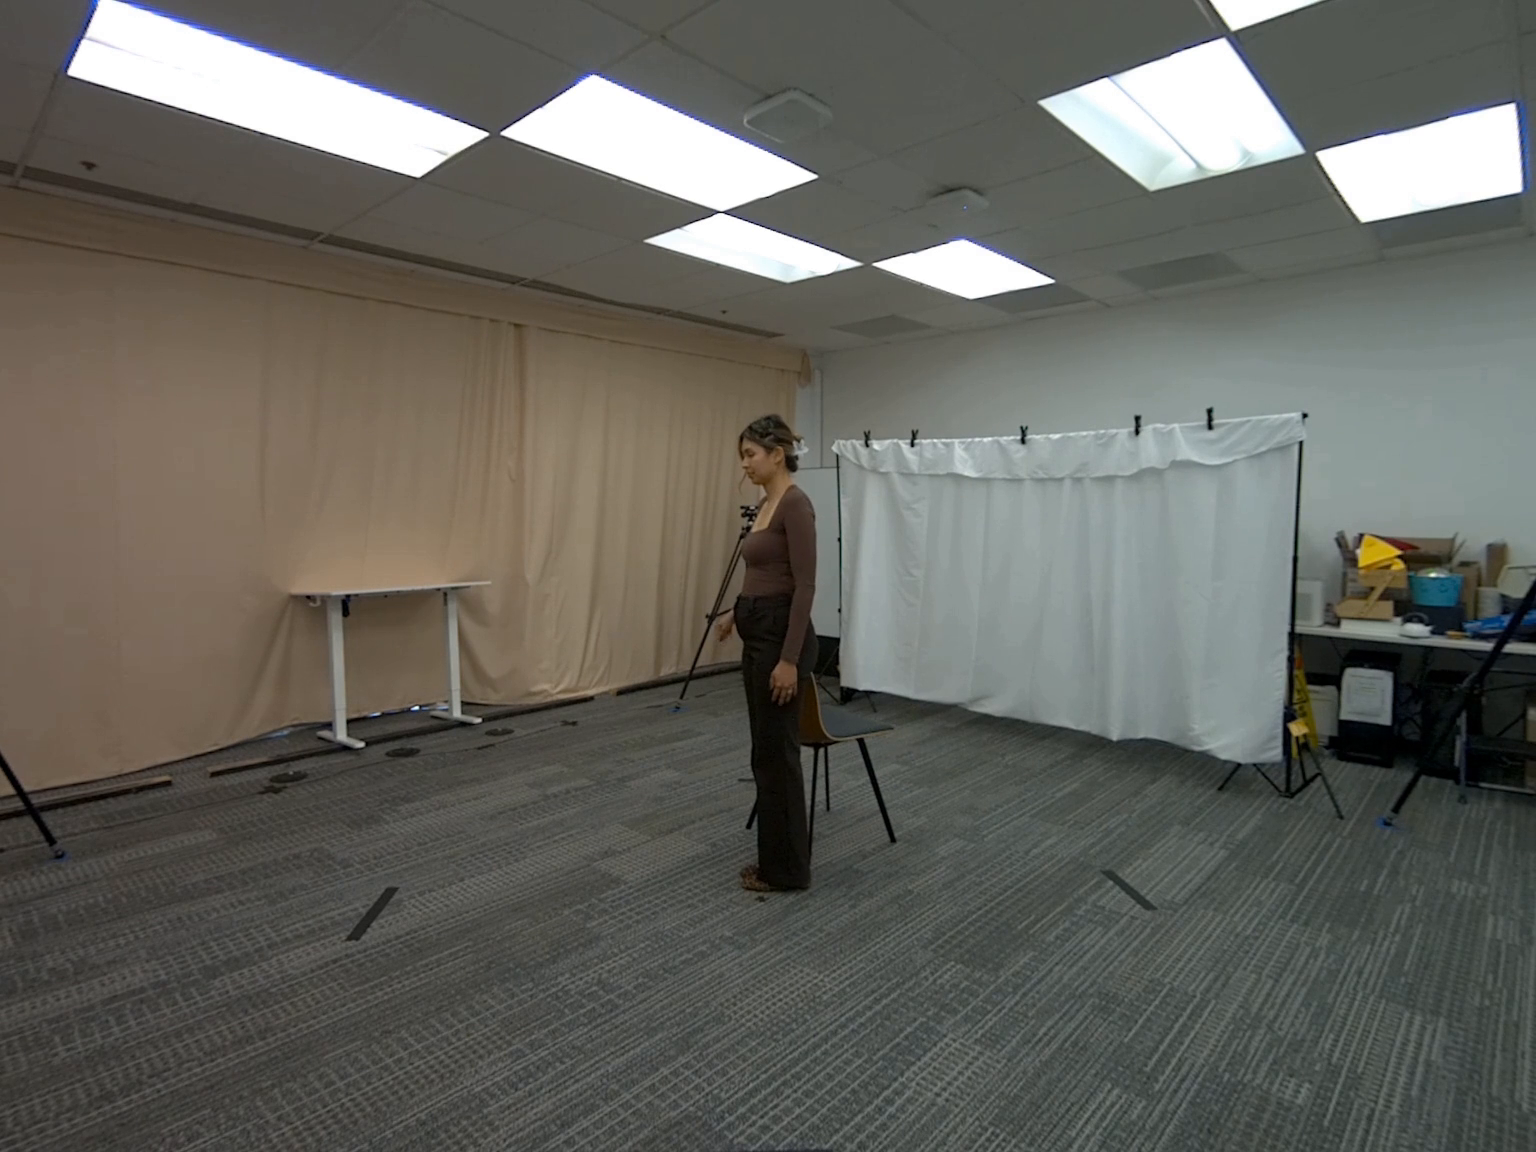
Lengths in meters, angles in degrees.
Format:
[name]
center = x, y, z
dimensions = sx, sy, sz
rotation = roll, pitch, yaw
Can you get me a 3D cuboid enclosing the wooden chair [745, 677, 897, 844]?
[wooden chair]
center = 0.222, 0.672, 3.534
dimensions = 0.509, 0.874, 0.492
rotation = -7, 6, -32
